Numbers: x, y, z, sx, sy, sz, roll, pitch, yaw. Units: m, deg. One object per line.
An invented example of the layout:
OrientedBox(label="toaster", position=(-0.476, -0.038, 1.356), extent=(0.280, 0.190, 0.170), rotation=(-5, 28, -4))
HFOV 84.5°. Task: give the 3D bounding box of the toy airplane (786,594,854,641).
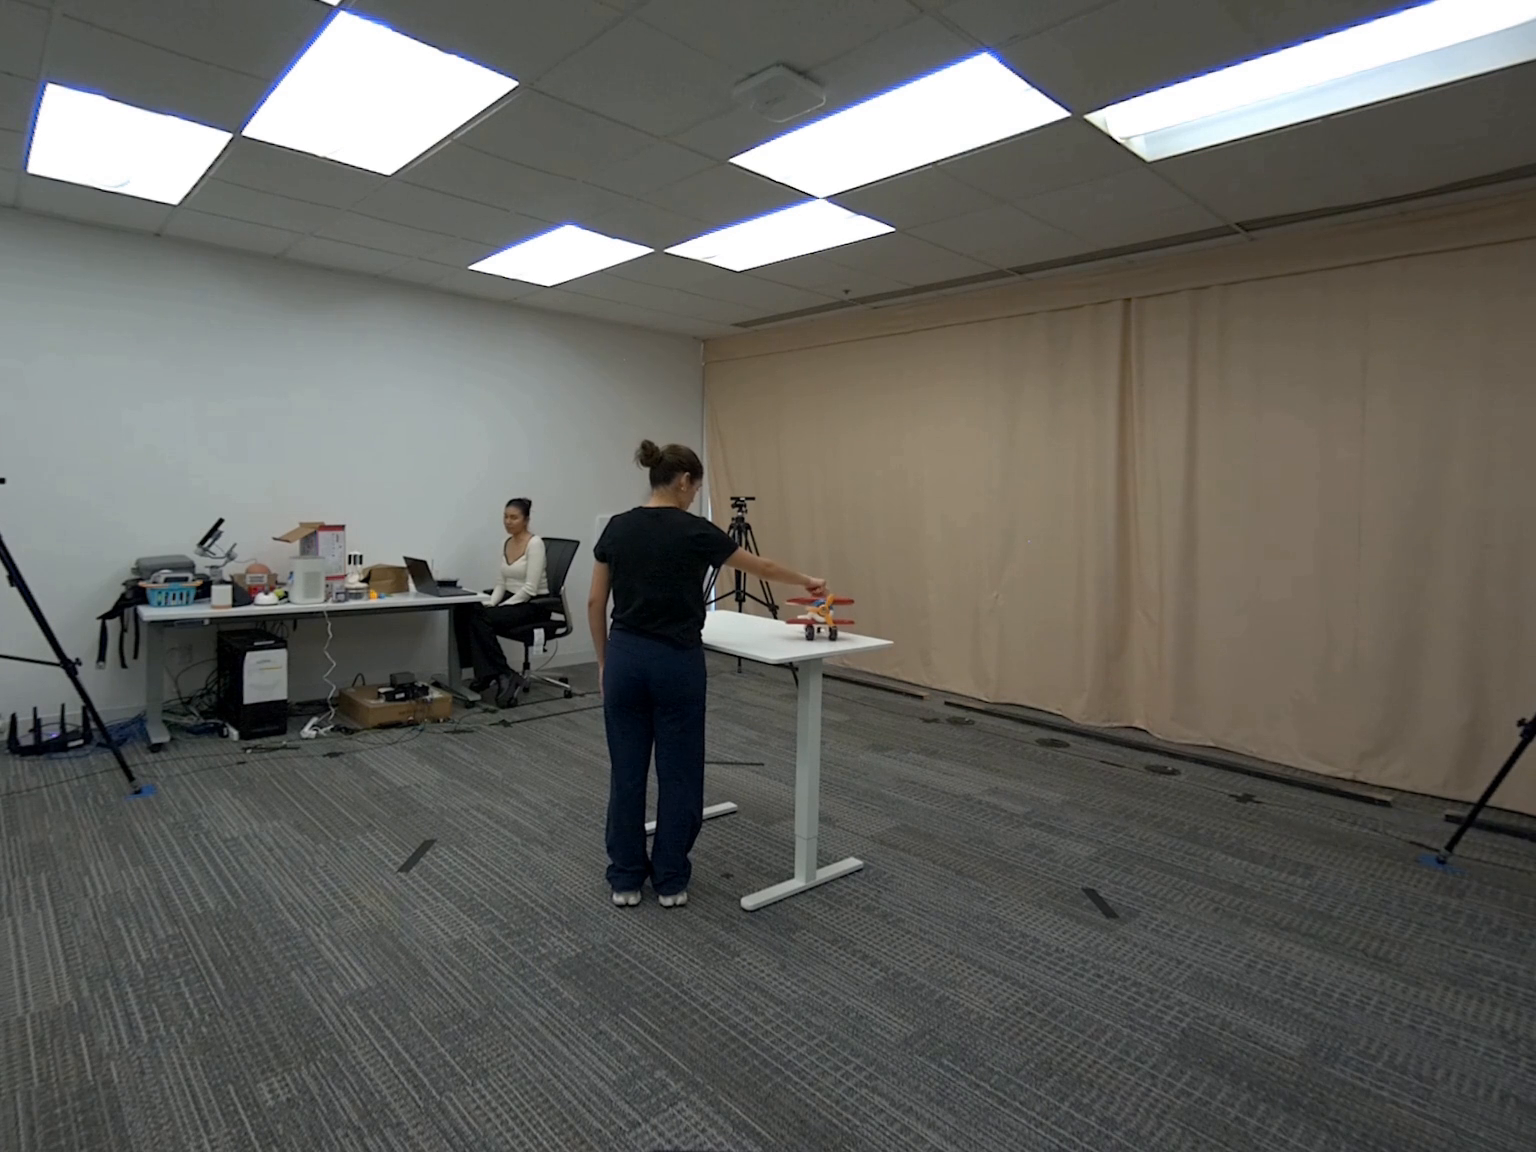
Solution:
OrientedBox(label="toy airplane", position=(0.167, 0.153, 3.144), extent=(0.246, 0.156, 0.265), rotation=(-2, 6, -30))
